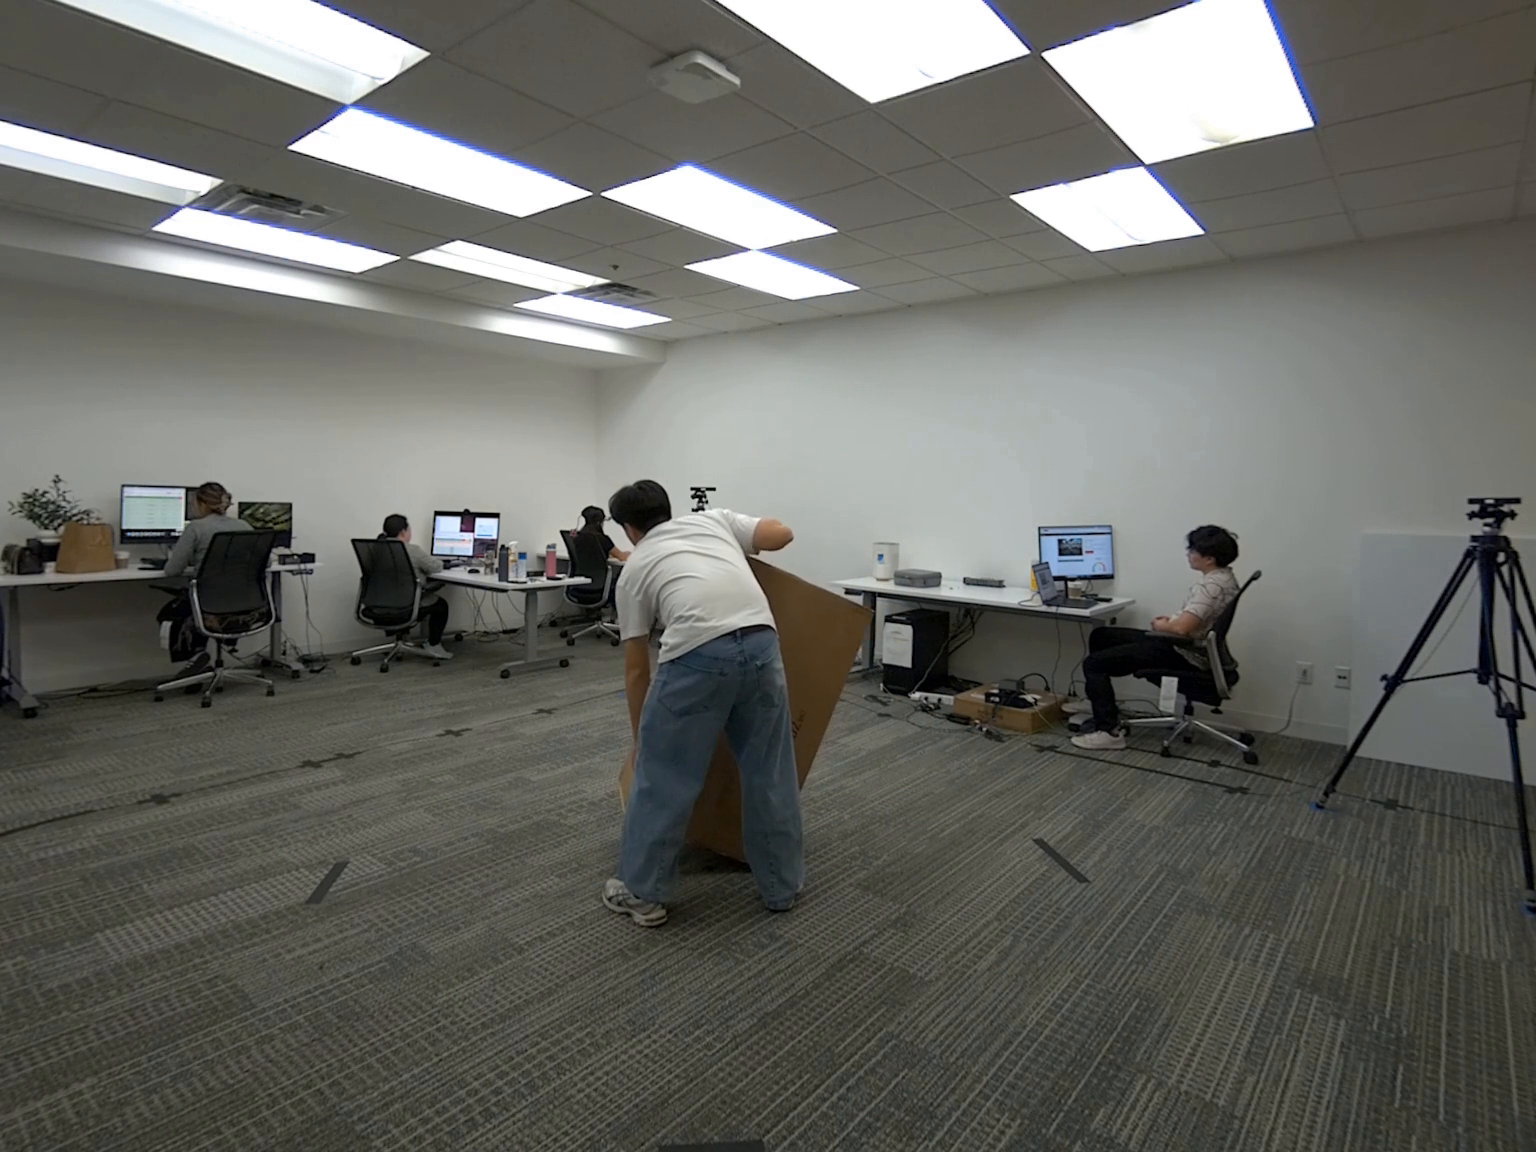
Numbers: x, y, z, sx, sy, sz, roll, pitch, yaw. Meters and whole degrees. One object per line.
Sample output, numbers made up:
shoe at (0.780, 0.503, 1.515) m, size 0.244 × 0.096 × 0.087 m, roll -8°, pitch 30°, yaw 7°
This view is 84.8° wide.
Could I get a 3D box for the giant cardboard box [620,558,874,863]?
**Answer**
giant cardboard box at (-0.113, 0.472, 3.270) m, size 0.570 × 1.027 × 0.432 m, roll 23°, pitch -2°, yaw -11°
